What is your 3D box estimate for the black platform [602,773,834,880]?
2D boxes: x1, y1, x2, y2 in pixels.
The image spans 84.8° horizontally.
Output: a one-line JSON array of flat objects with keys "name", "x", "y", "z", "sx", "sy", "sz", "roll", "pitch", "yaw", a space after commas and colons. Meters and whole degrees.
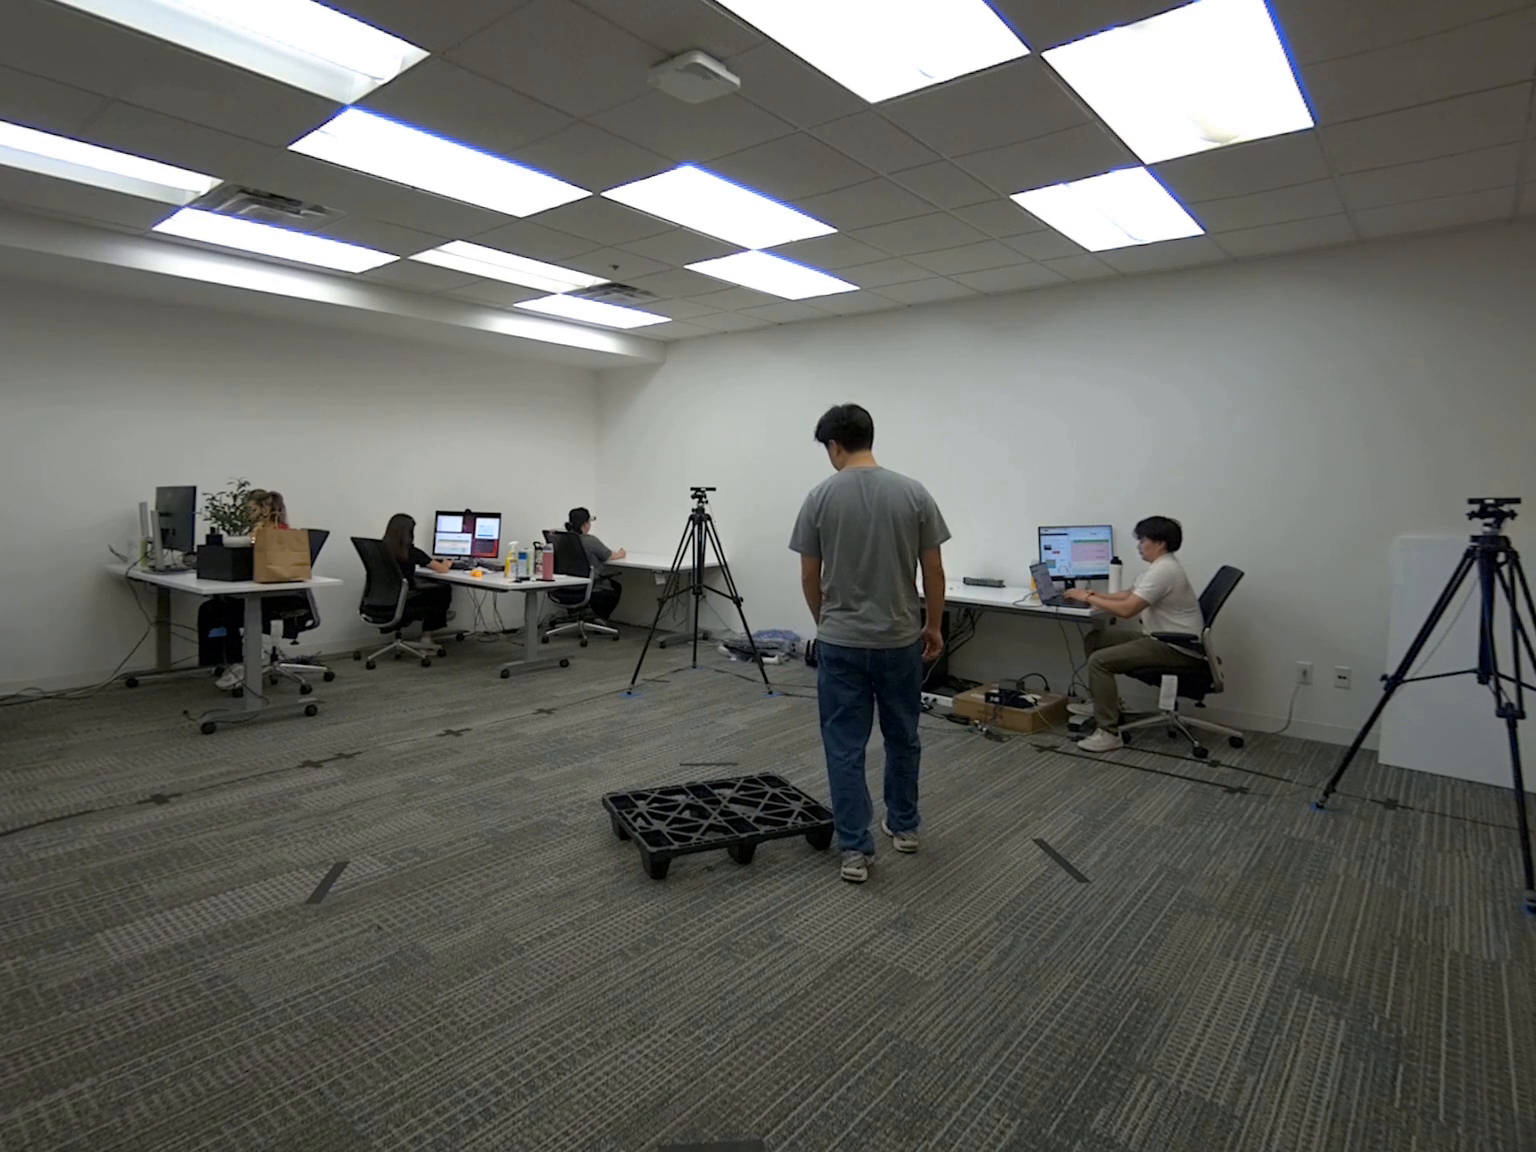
[{"name": "black platform", "x": -0.196, "y": 0.973, "z": 3.361, "sx": 0.786, "sy": 0.143, "sz": 0.622, "roll": -2, "pitch": 7, "yaw": -26}]
